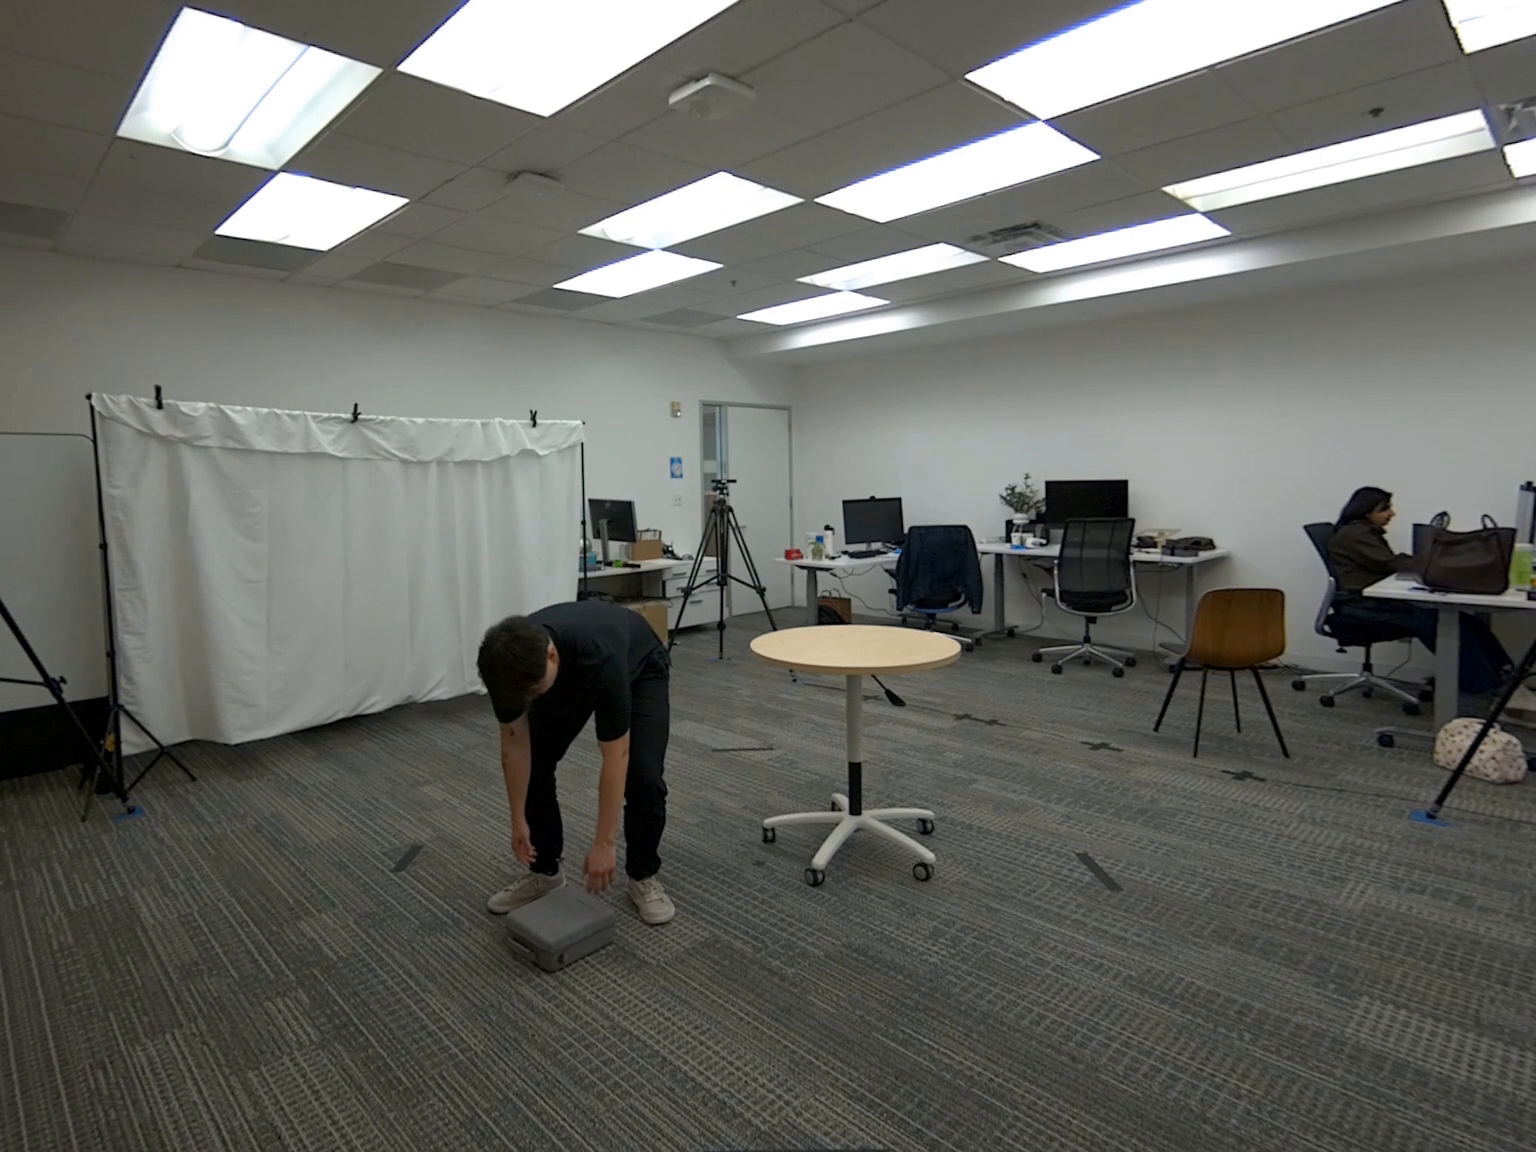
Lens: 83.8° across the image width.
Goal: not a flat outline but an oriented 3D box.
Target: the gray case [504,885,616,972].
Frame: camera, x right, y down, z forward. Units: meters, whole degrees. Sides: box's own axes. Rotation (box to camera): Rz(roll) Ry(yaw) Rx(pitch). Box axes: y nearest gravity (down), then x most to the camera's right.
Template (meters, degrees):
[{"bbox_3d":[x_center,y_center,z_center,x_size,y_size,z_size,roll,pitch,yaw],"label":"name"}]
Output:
[{"bbox_3d":[-0.627,1.058,2.595,0.265,0.103,0.254,7,12,44],"label":"gray case"}]
